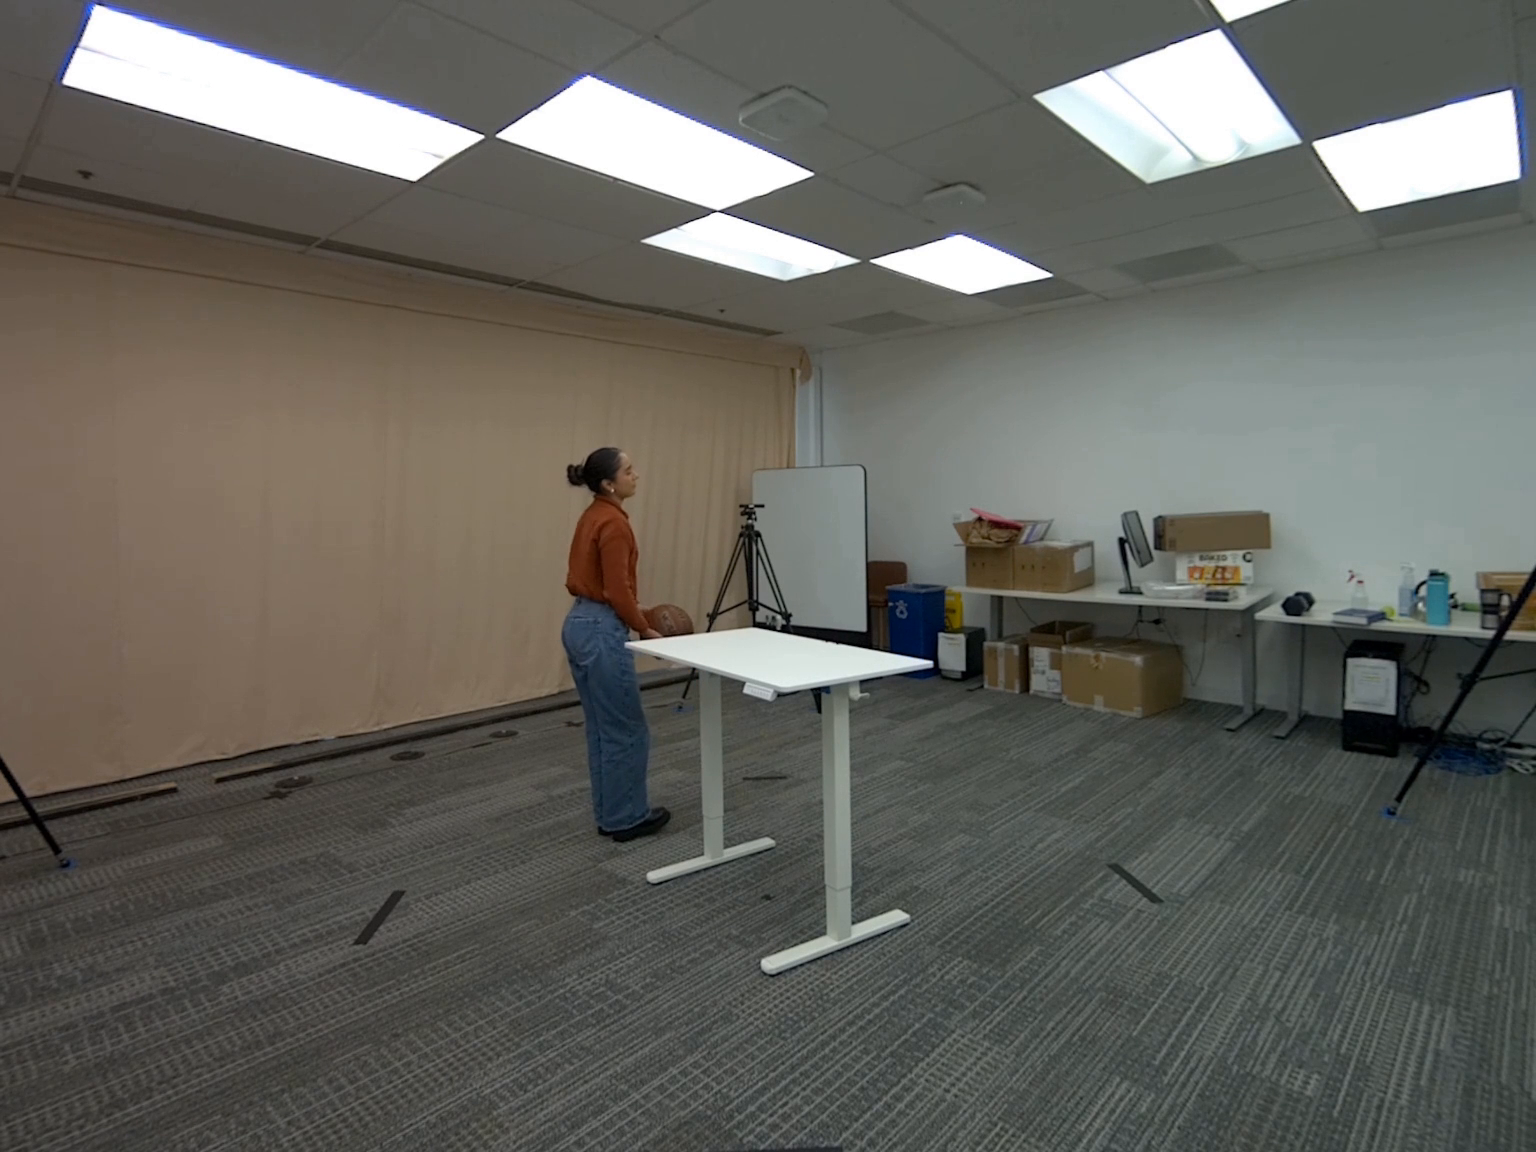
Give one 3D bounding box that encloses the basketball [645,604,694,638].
[{"bbox_3d":[-0.444,0.239,3.614,0.236,0.235,0.237,-1,4,-2],"label":"basketball"}]
